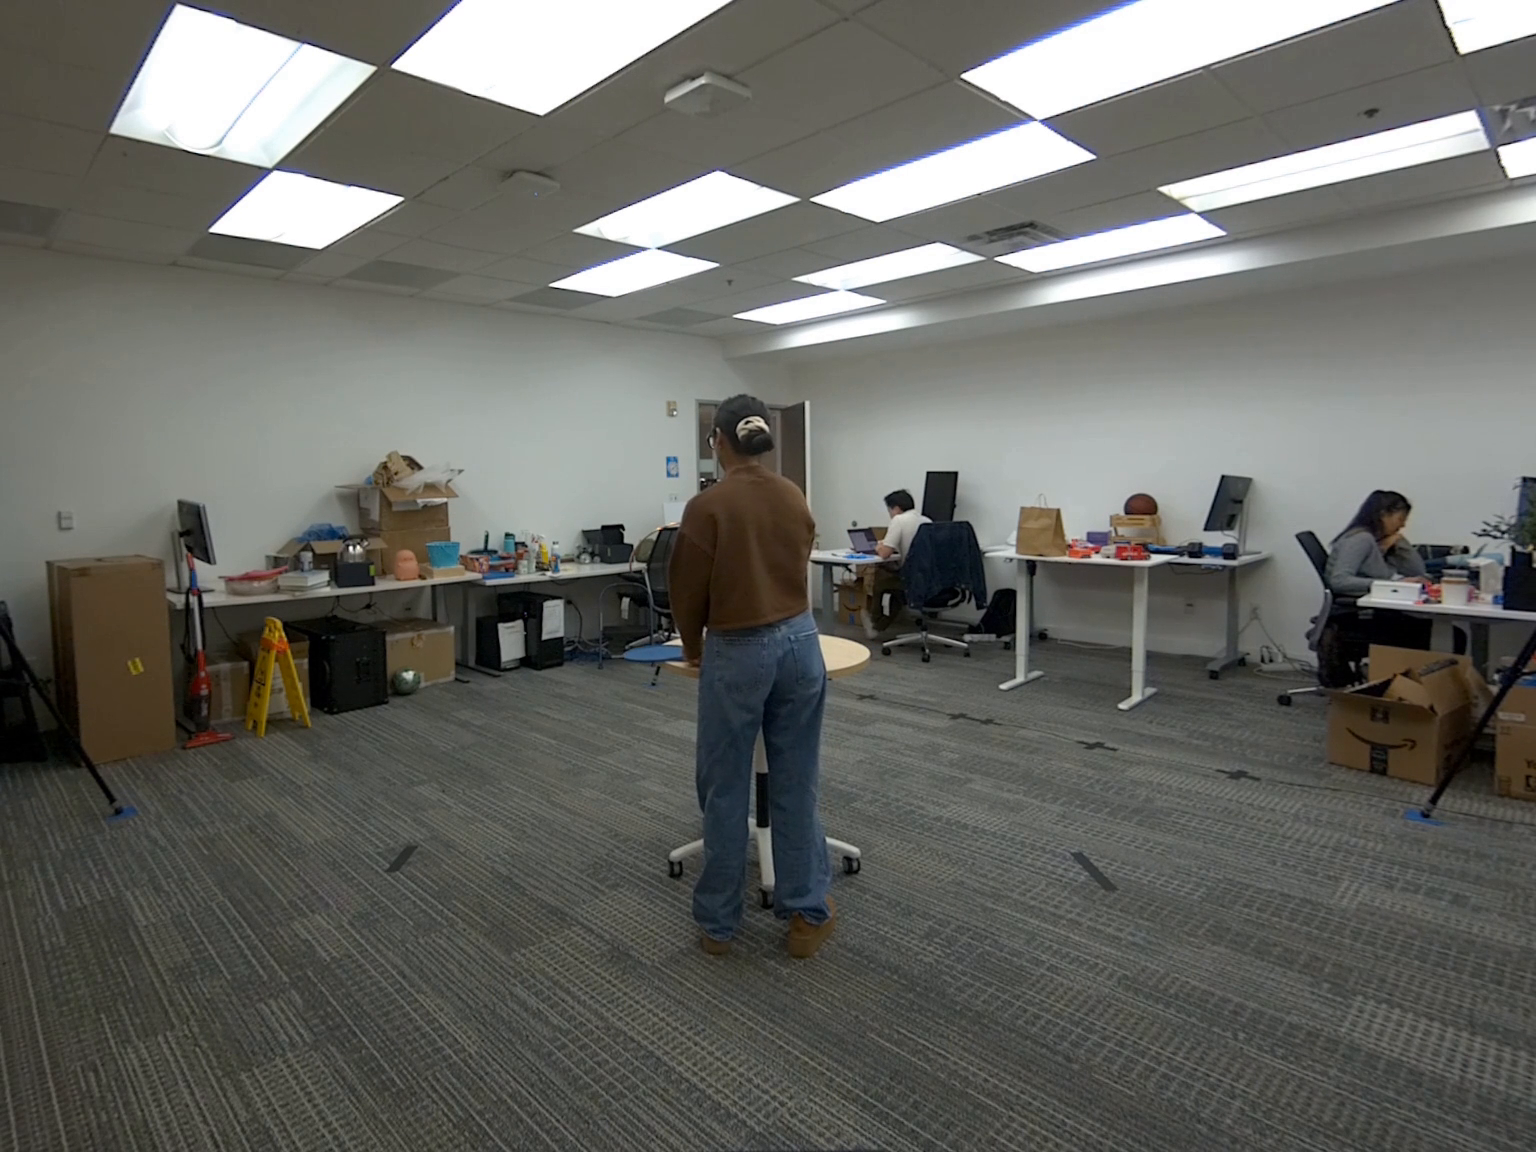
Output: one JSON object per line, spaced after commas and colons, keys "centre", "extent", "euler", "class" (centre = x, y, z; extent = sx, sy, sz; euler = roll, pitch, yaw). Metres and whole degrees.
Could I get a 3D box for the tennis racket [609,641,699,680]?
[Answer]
{"centre": [-0.332, 0.281, 2.920], "extent": [0.208, 0.031, 0.446], "euler": [-10, 9, -42], "class": "tennis racket"}
